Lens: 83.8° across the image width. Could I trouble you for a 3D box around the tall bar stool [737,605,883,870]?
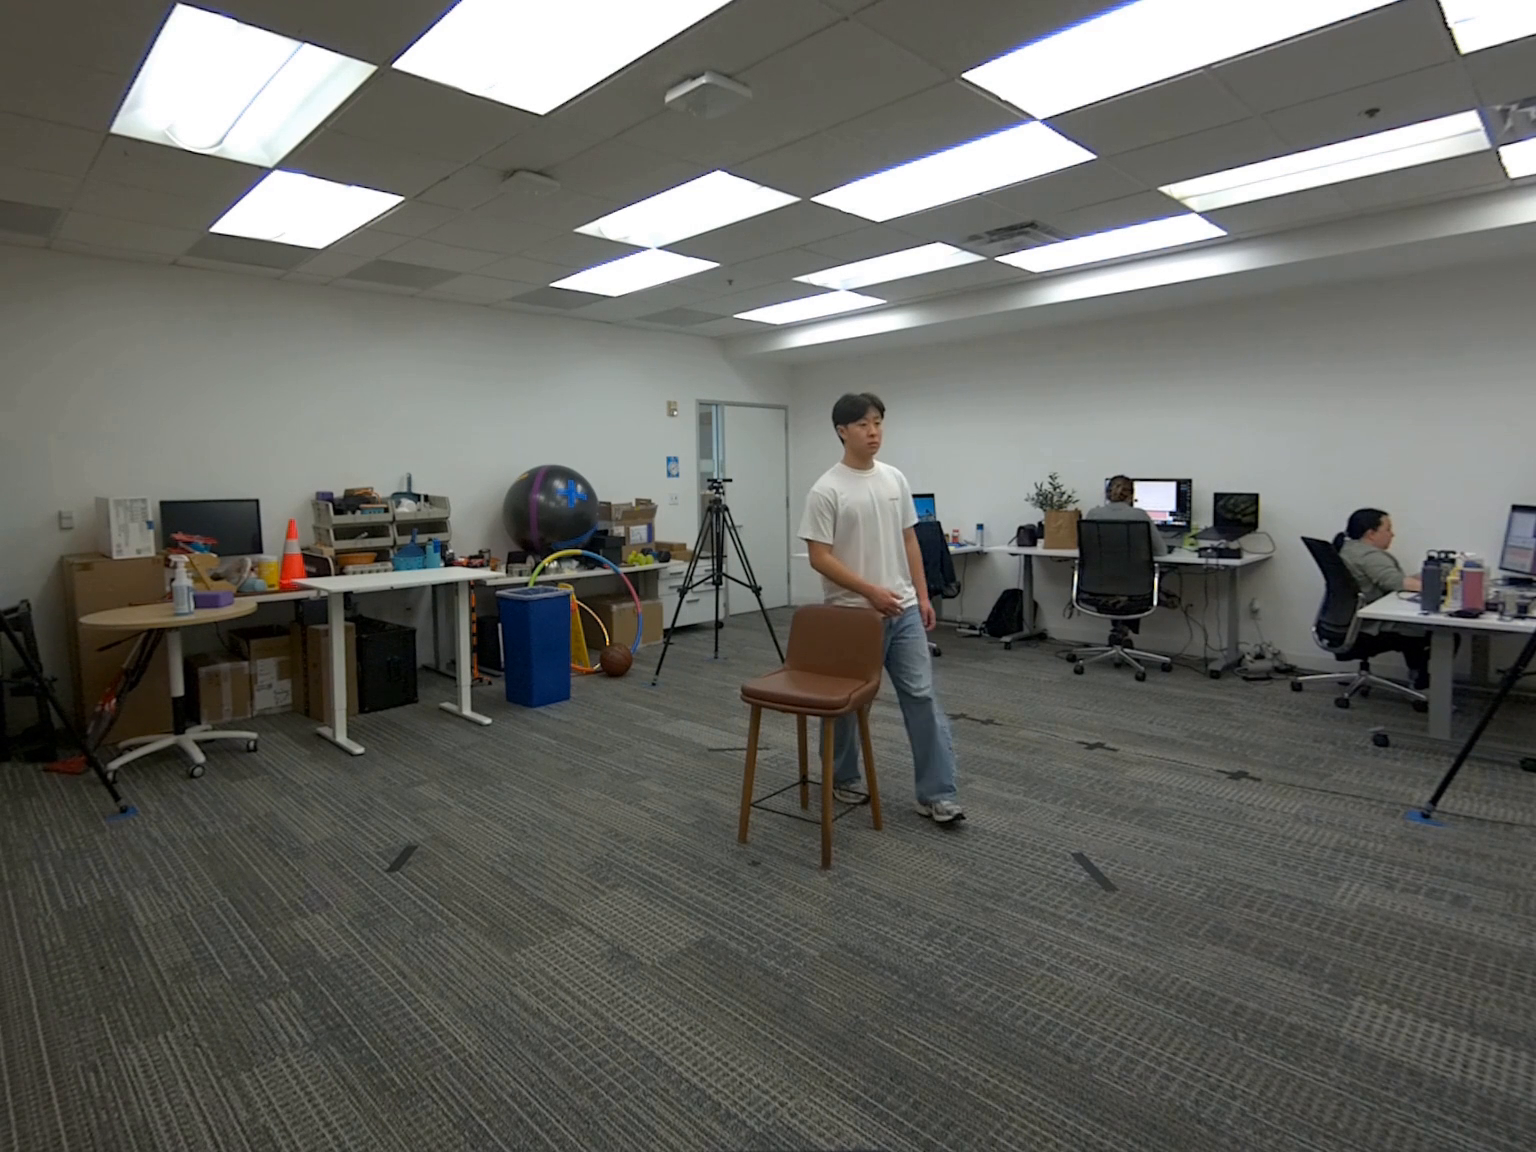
[{"bbox_3d":[0.175,0.582,3.318,0.470,0.888,0.455,2,3,38],"label":"tall bar stool"}]
